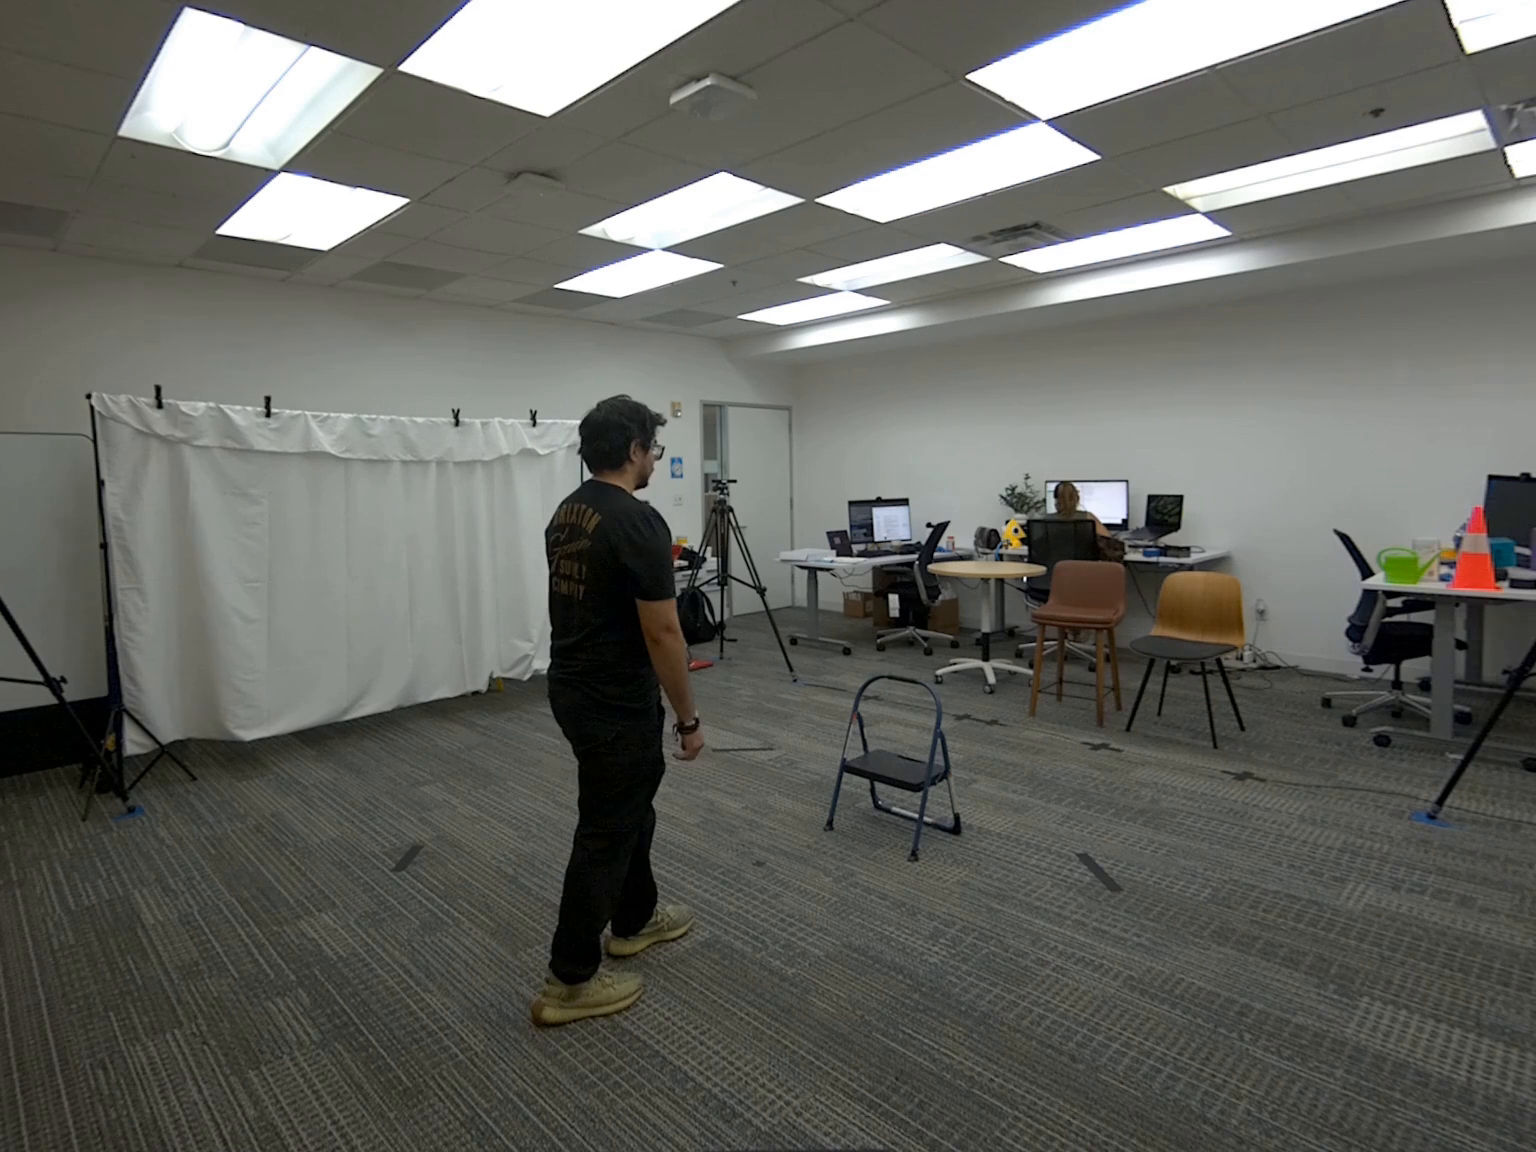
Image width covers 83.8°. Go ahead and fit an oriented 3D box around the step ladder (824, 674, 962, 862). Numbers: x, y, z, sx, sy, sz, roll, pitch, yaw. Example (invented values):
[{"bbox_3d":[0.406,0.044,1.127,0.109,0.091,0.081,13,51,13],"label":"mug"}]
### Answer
[{"bbox_3d":[0.491,0.708,3.353,0.444,0.604,0.340,4,6,44],"label":"step ladder"}]
